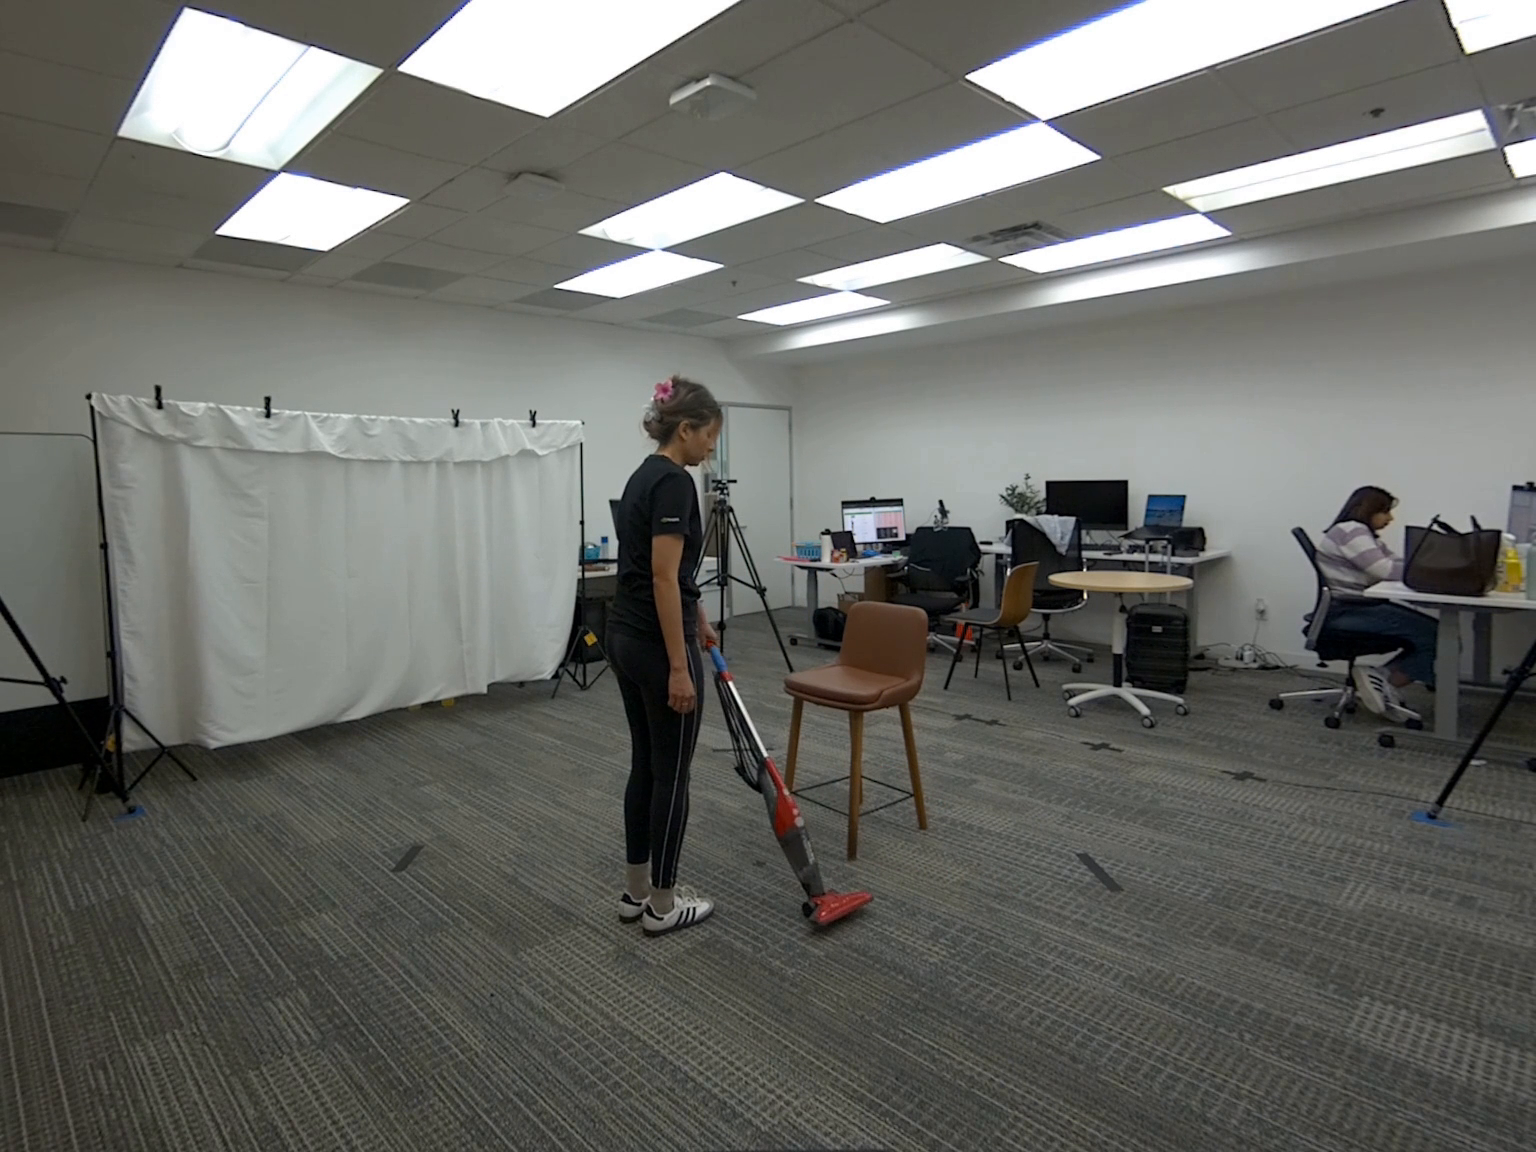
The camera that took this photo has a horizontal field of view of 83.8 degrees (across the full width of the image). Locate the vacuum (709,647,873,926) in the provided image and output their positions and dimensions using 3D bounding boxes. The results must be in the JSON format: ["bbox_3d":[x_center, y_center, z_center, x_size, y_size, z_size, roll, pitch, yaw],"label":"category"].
[{"bbox_3d":[-0.030,0.638,2.958,0.245,1.082,0.143,-3,-37,-42],"label":"vacuum"}]
